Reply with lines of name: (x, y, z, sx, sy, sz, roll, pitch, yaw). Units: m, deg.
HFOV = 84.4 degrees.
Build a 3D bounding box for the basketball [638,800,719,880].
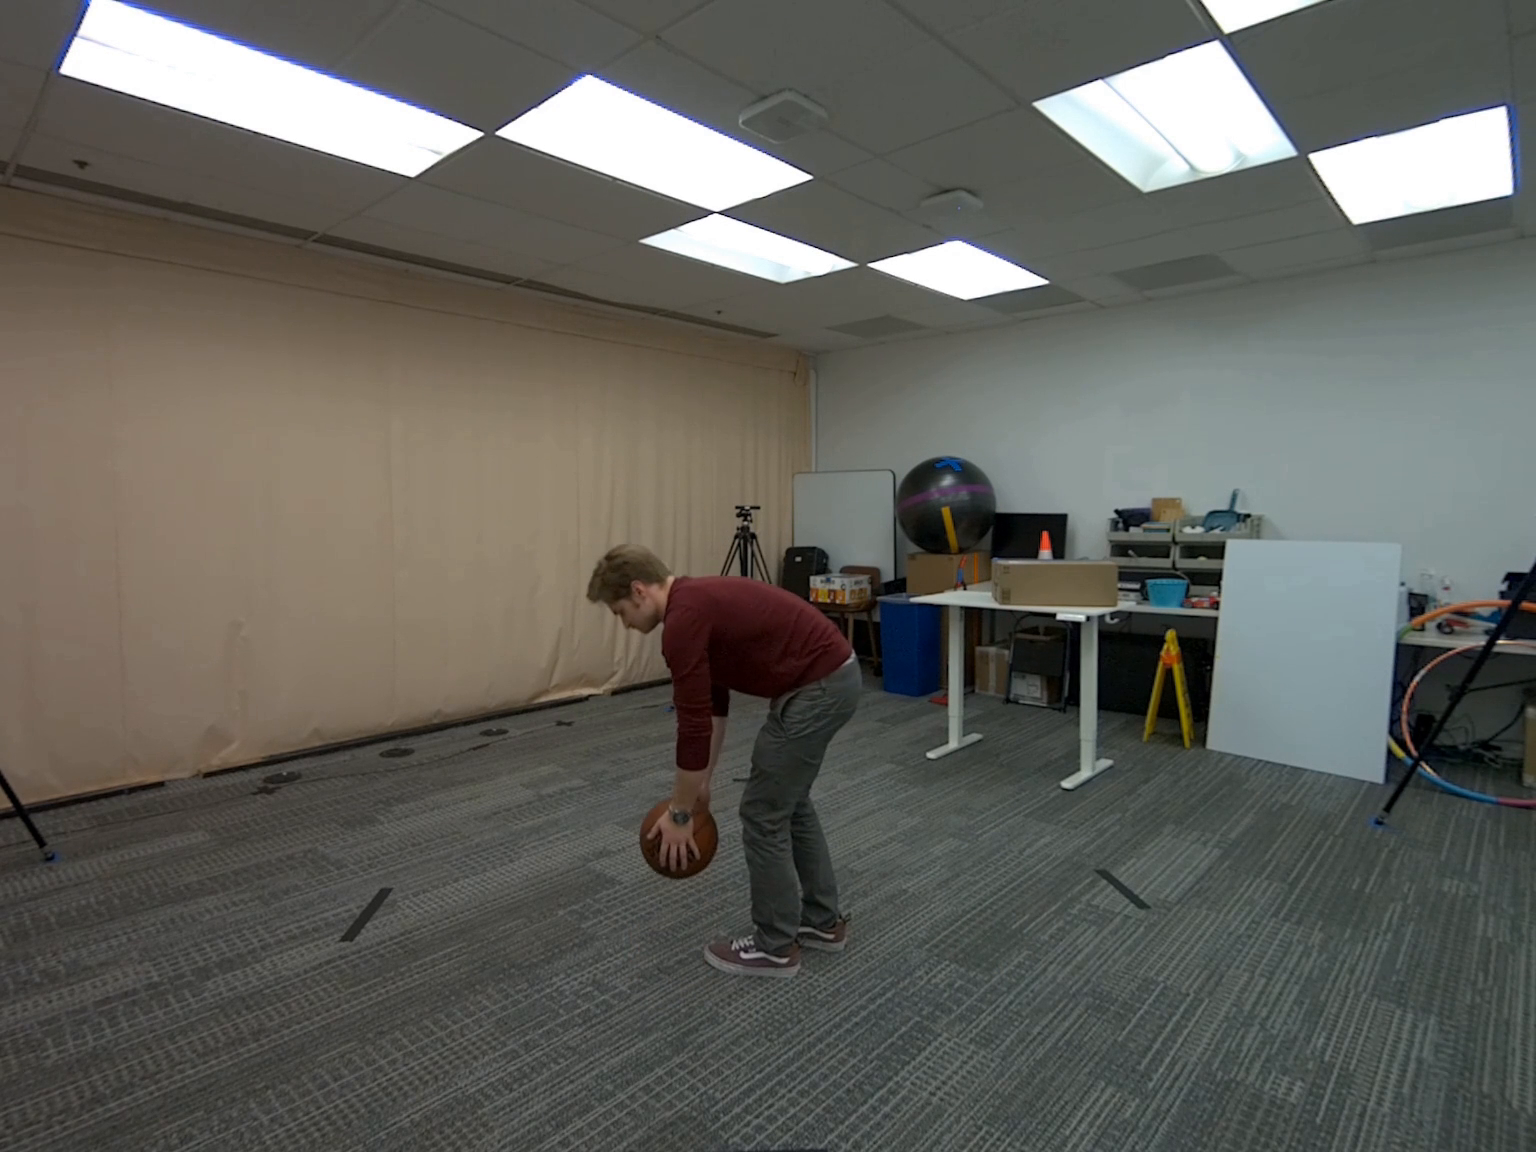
basketball: (-0.270, 0.791, 2.563, 0.236, 0.235, 0.237, 0, 4, -2)
